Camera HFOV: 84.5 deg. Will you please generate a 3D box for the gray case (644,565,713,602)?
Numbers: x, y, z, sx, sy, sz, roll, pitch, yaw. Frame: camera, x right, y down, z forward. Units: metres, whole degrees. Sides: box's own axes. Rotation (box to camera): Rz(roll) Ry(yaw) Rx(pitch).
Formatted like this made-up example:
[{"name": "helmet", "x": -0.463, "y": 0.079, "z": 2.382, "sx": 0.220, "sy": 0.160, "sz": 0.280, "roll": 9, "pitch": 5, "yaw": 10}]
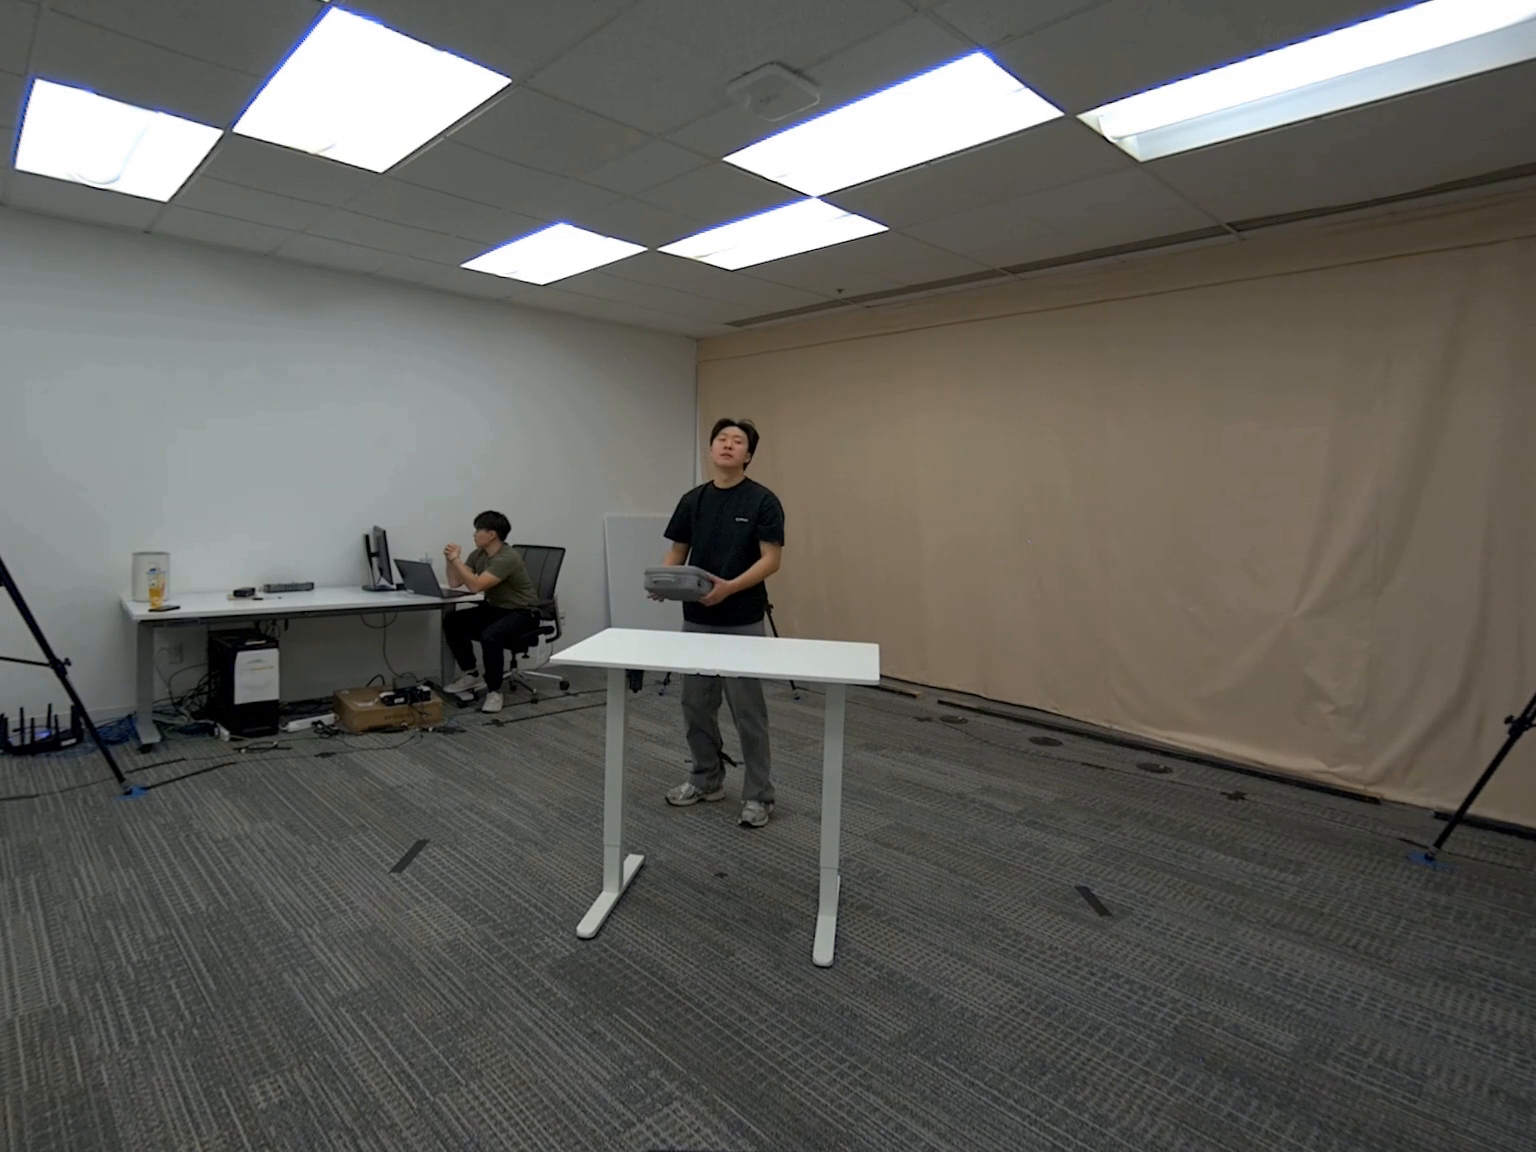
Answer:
[{"name": "gray case", "x": -0.360, "y": 0.043, "z": 3.499, "sx": 0.269, "sy": 0.104, "sz": 0.279, "roll": 1, "pitch": -12, "yaw": 32}]
